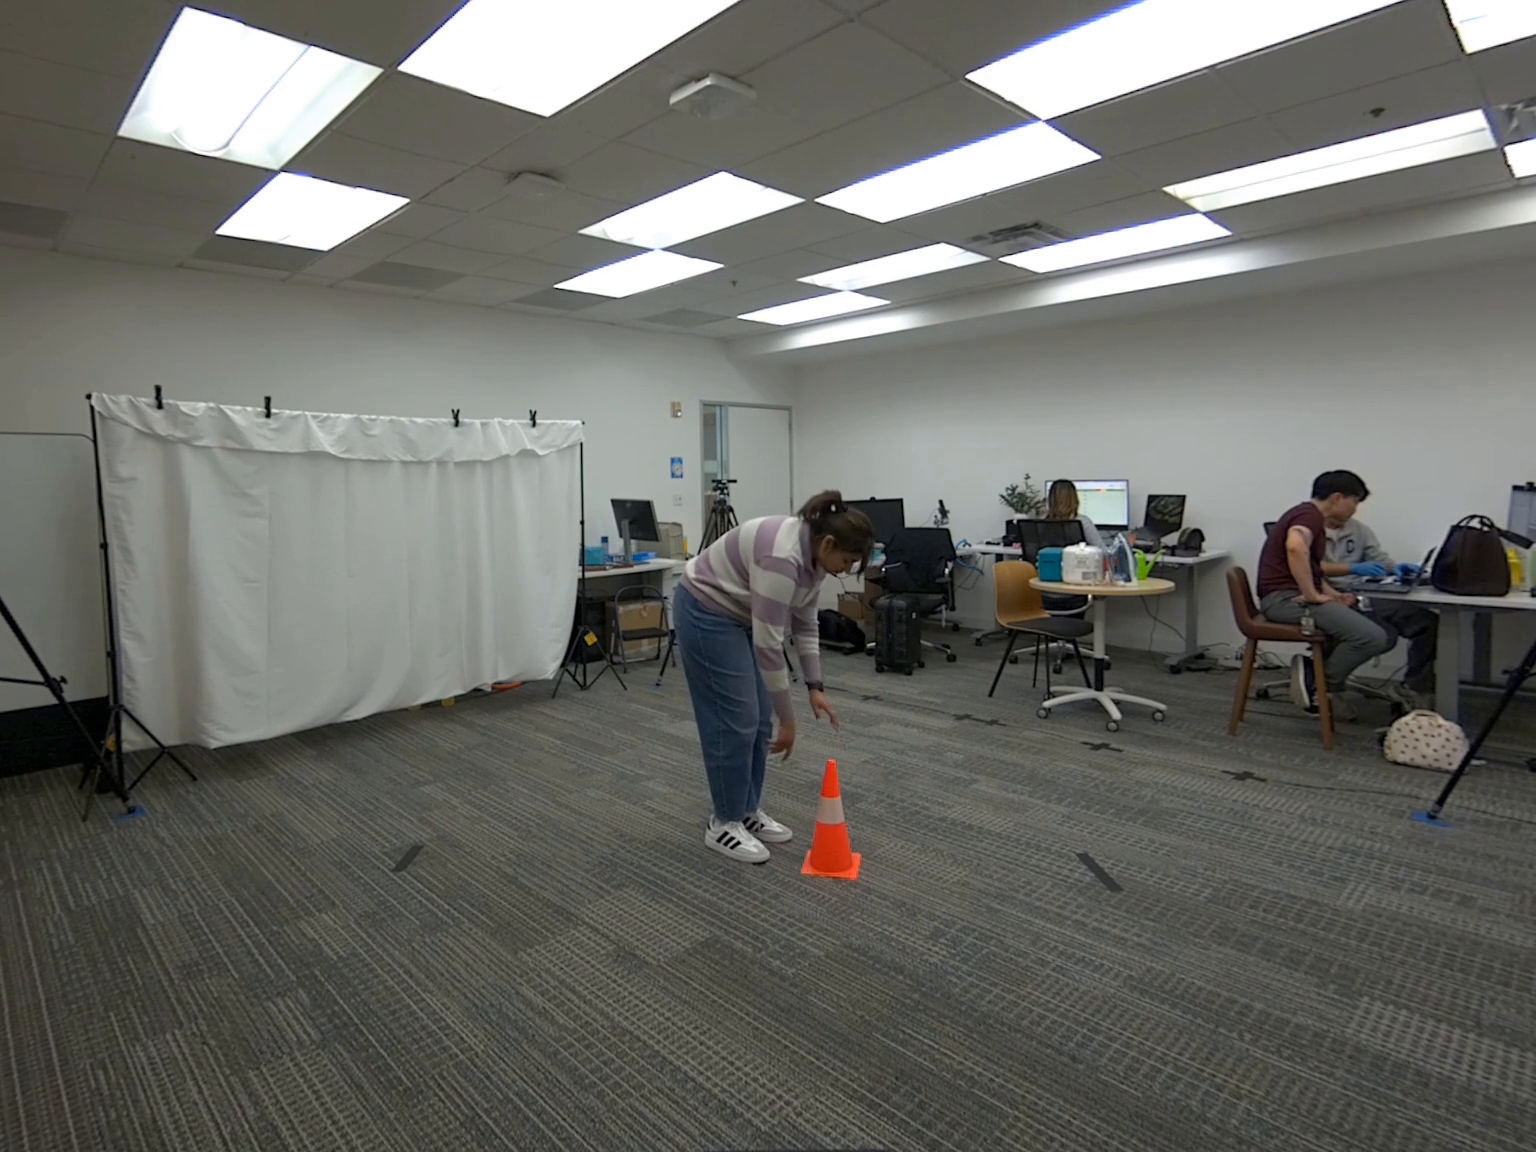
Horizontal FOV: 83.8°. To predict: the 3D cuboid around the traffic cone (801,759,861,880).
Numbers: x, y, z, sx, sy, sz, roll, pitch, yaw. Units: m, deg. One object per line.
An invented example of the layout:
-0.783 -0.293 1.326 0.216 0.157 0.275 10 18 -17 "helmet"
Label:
0.230 0.859 3.088 0.206 0.383 0.203 0 3 13 "traffic cone"
